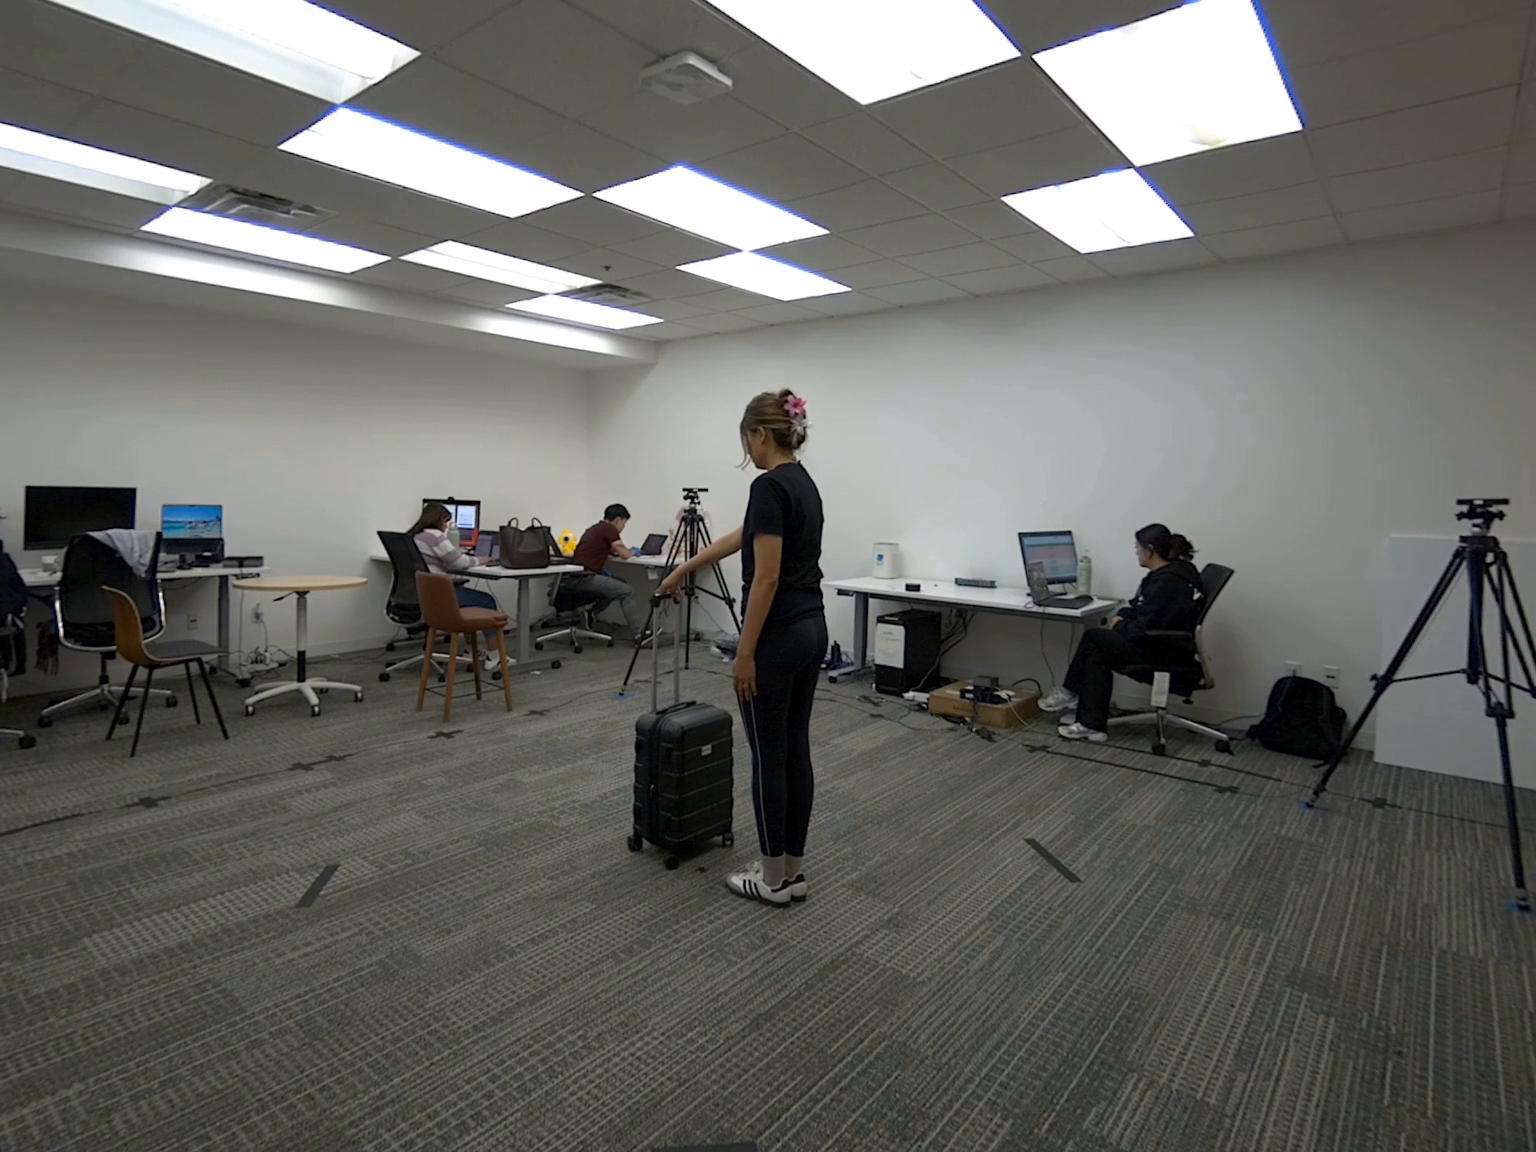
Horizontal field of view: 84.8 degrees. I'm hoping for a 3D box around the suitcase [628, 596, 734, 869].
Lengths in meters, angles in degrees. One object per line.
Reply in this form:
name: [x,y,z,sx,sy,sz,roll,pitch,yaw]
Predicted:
suitcase: [-0.330,0.570,3.280,0.266,0.976,0.372,3,4,40]
